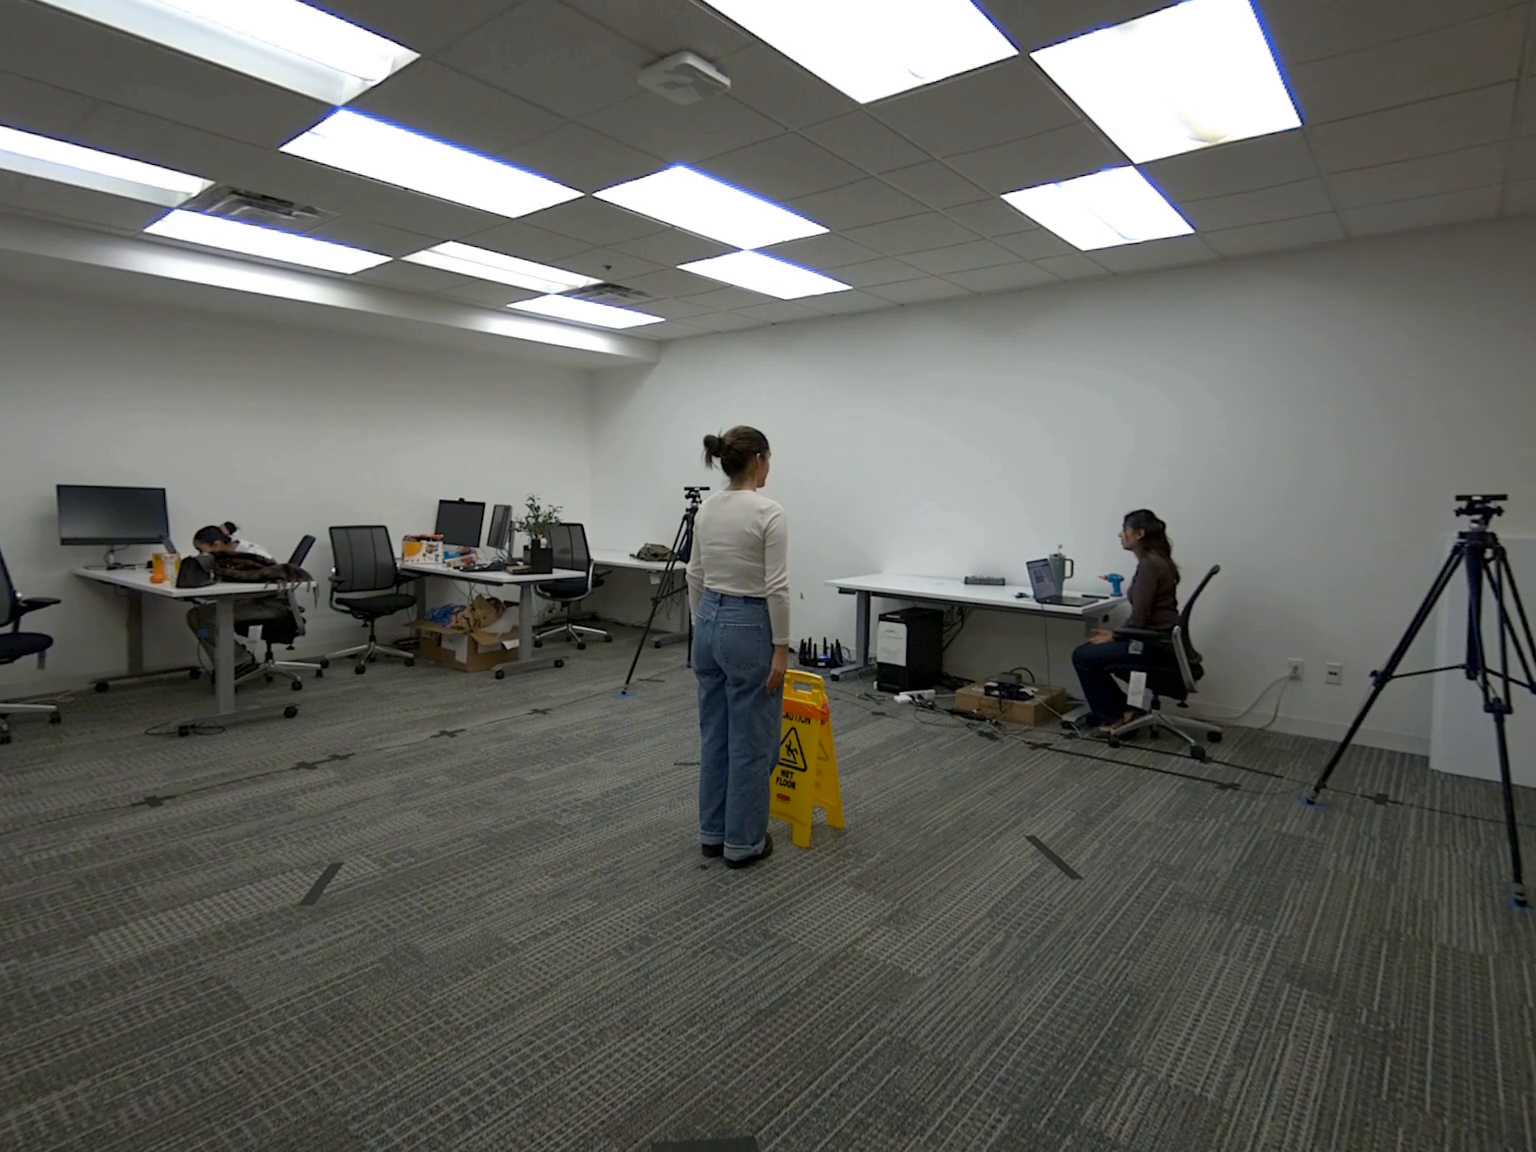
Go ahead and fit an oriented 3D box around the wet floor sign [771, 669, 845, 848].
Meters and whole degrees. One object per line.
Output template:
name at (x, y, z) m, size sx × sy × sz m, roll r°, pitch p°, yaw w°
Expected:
wet floor sign at (0.123, 0.709, 3.471) m, size 0.292 × 0.644 × 0.281 m, roll 5°, pitch 4°, yaw 39°
